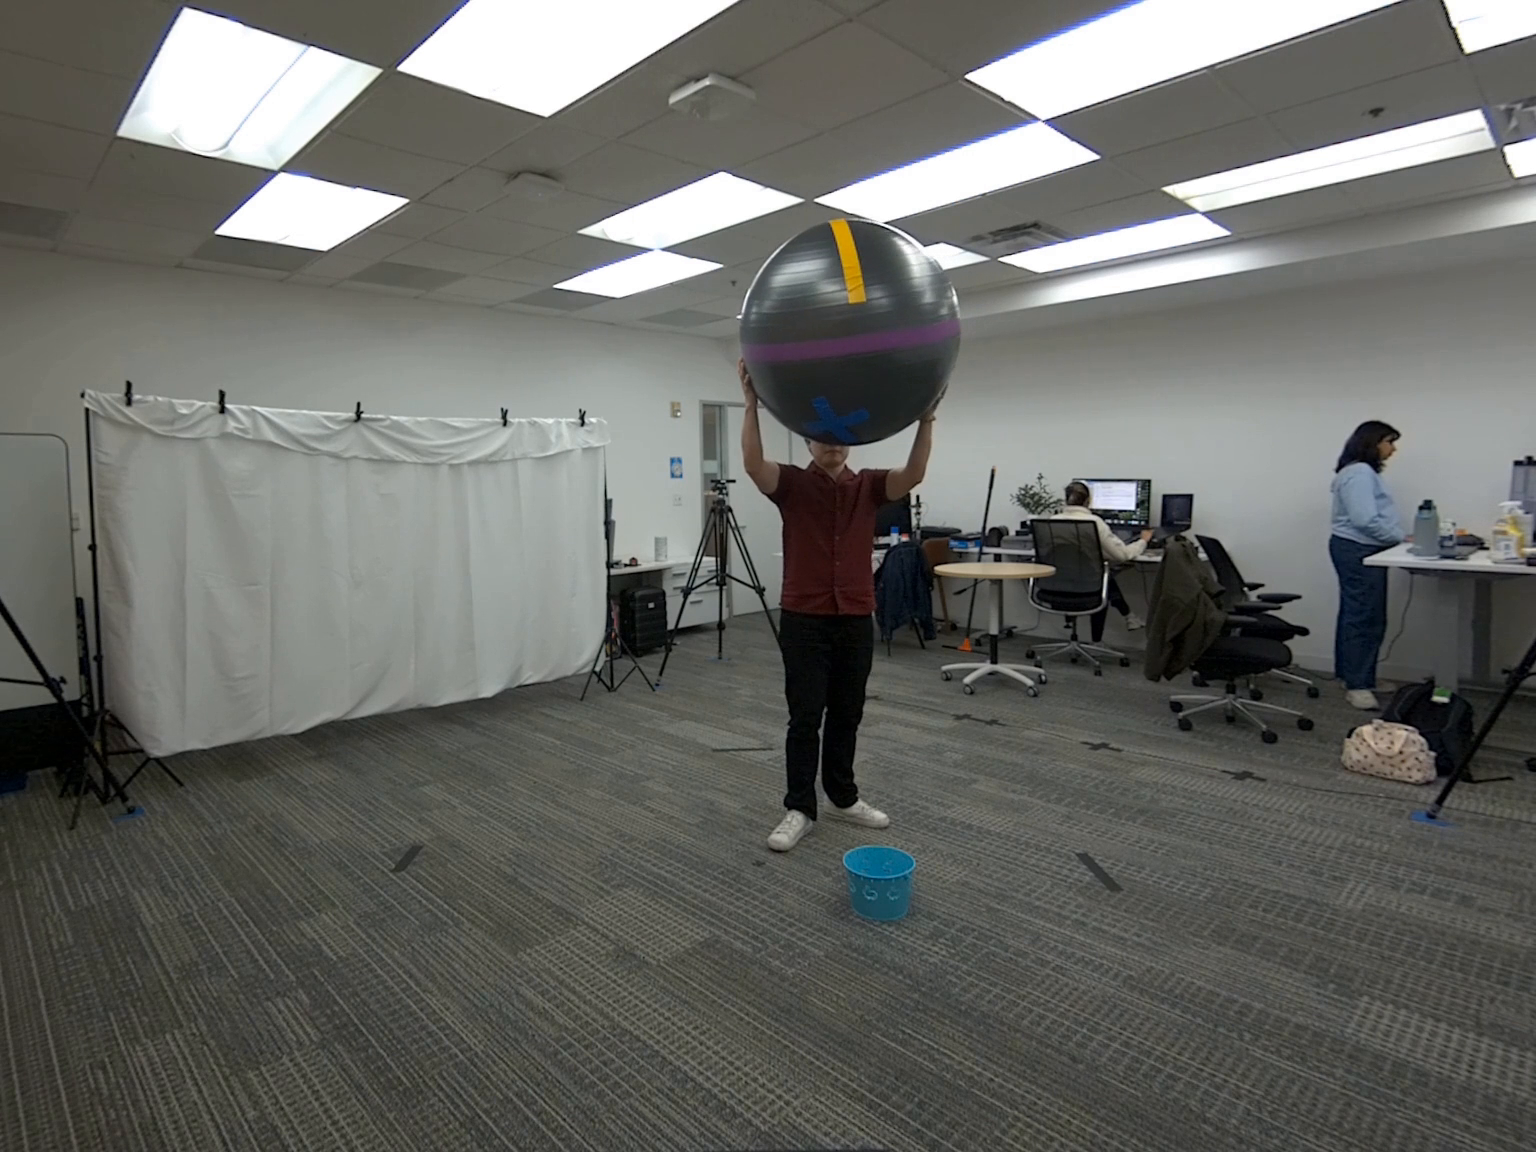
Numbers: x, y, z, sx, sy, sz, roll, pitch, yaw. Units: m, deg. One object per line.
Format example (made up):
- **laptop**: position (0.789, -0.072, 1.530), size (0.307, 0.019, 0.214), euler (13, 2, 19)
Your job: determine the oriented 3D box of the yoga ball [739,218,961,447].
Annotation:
- **yoga ball**: position (0.281, -0.830, 2.960), size (0.757, 0.755, 0.762), euler (-1, 5, -2)
